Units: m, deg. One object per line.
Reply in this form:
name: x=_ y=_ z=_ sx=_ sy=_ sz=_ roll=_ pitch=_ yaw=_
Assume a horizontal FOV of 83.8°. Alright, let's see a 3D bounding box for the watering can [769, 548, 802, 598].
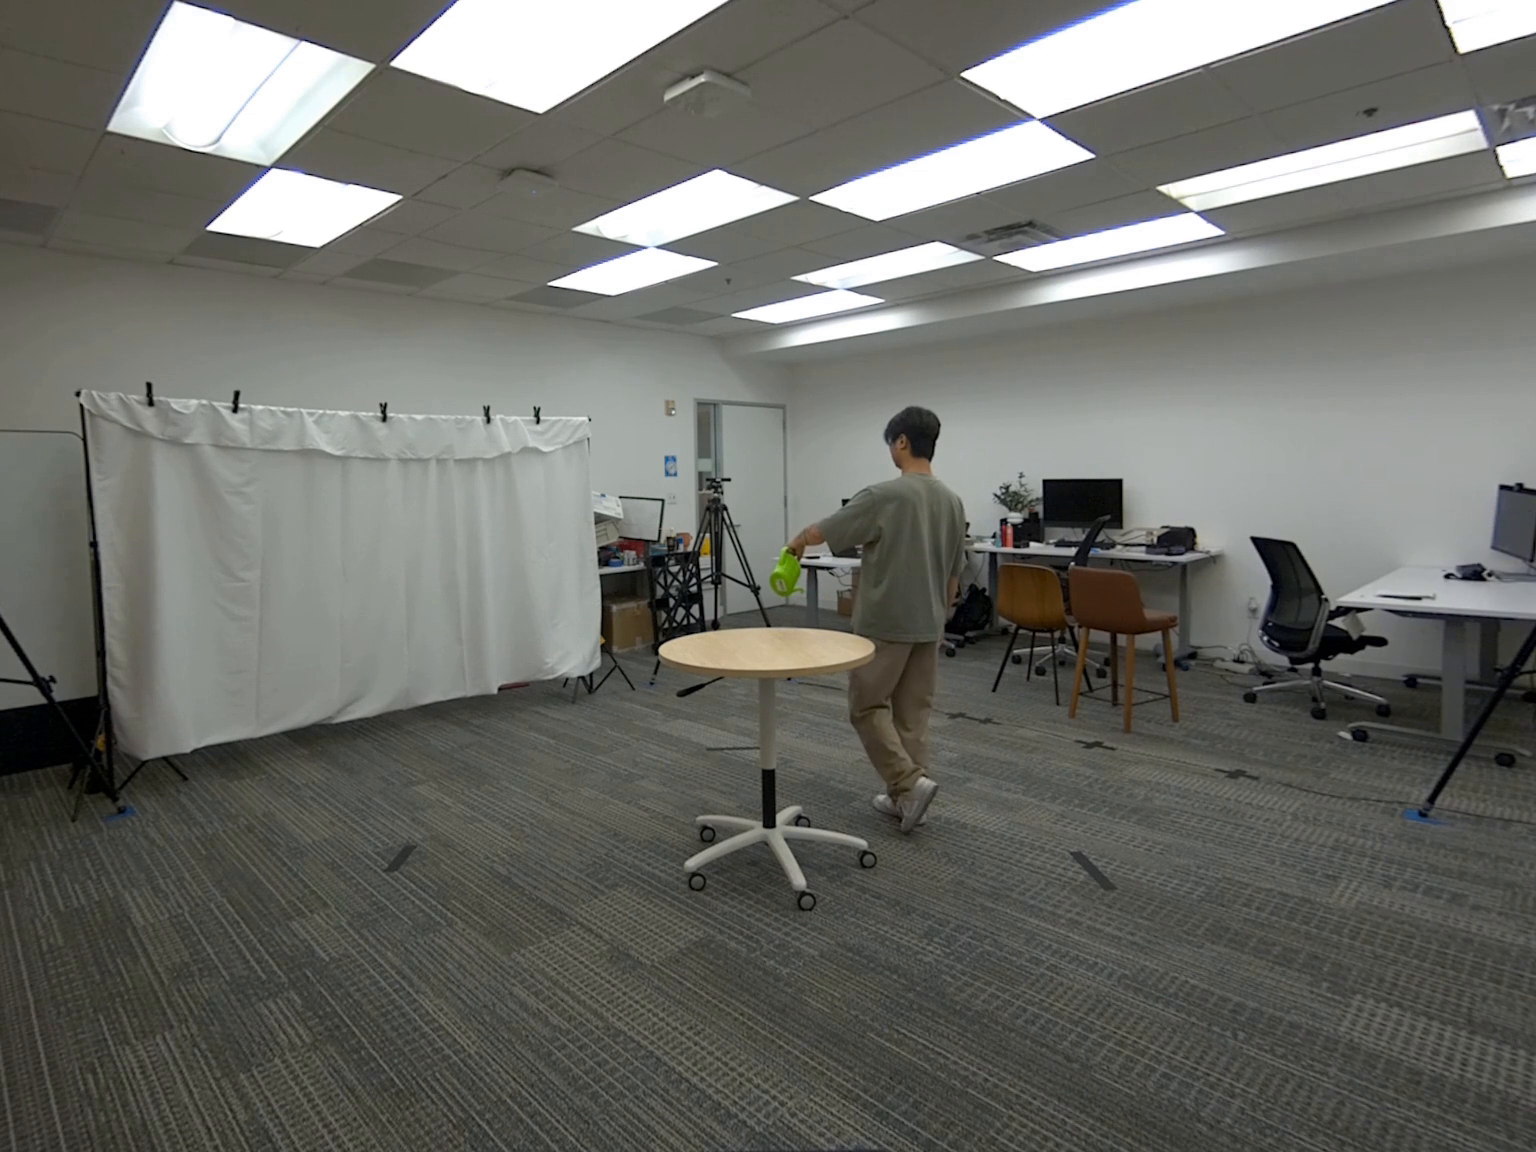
watering can: x=0.099 y=0.014 z=3.601 sx=0.100 sy=0.270 sz=0.178 roll=-8 pitch=33 yaw=34
